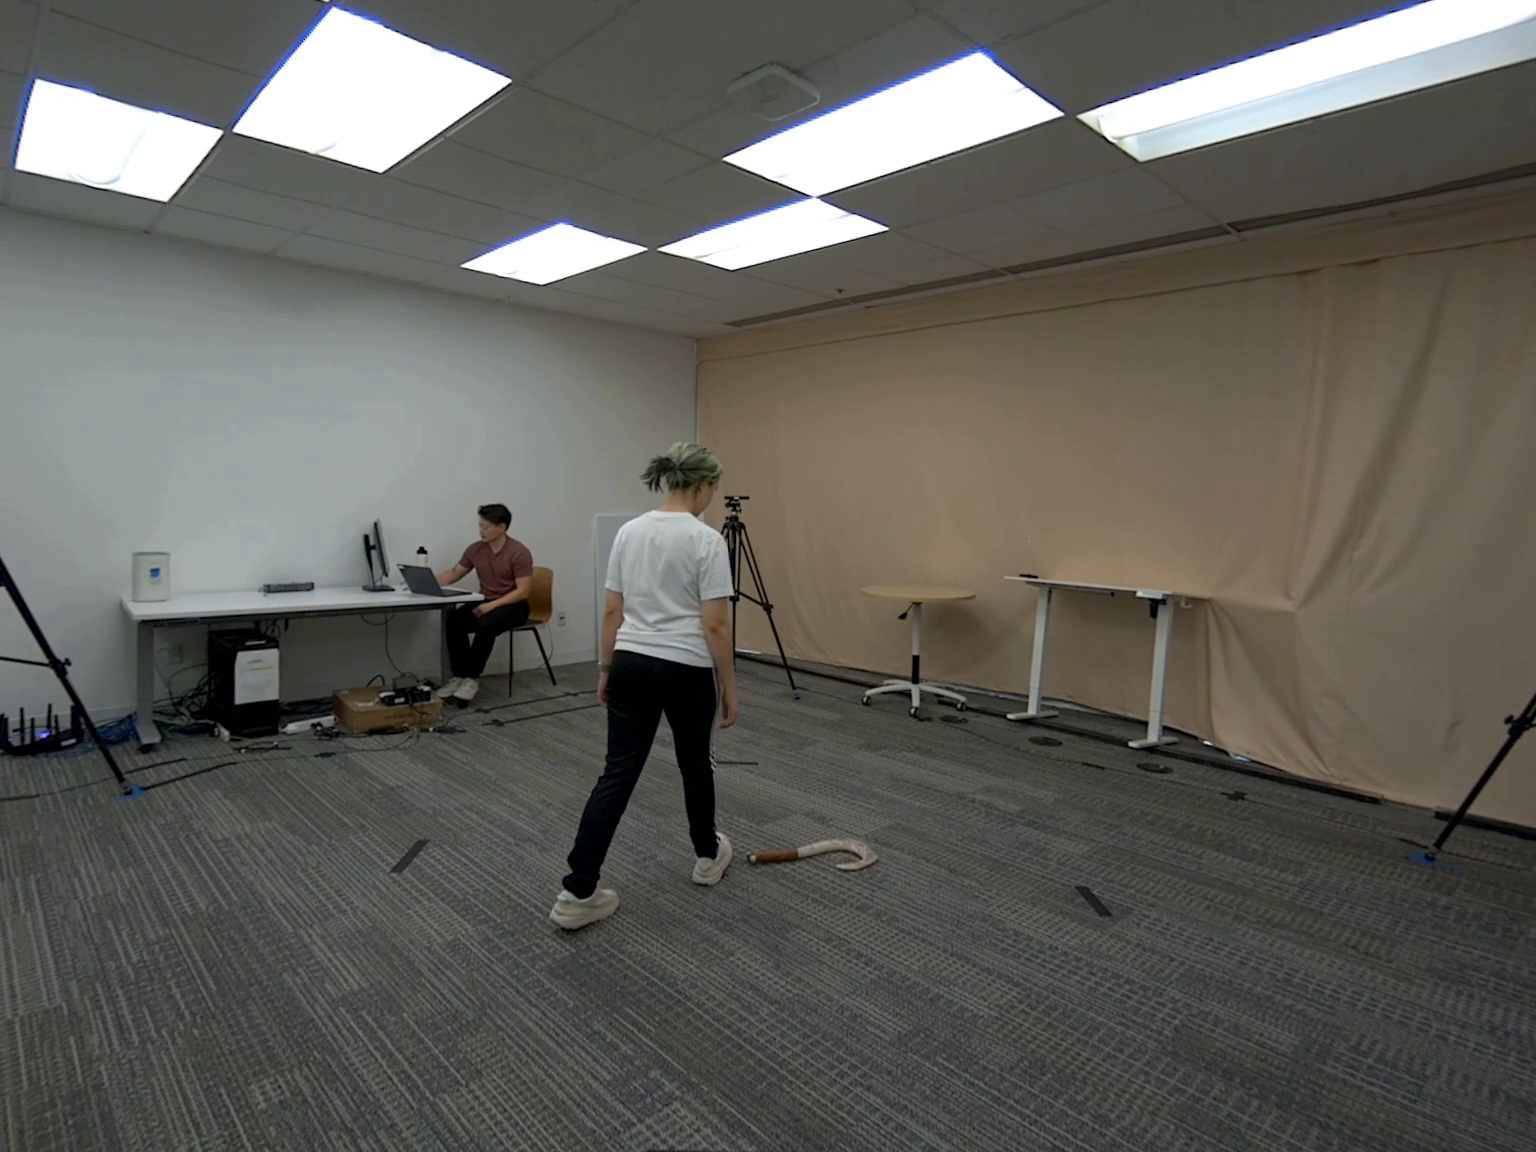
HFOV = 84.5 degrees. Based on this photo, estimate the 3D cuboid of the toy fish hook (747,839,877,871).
[{"bbox_3d":[0.169,1.077,3.222,0.499,0.048,0.228,-1,4,-19],"label":"toy fish hook"}]
